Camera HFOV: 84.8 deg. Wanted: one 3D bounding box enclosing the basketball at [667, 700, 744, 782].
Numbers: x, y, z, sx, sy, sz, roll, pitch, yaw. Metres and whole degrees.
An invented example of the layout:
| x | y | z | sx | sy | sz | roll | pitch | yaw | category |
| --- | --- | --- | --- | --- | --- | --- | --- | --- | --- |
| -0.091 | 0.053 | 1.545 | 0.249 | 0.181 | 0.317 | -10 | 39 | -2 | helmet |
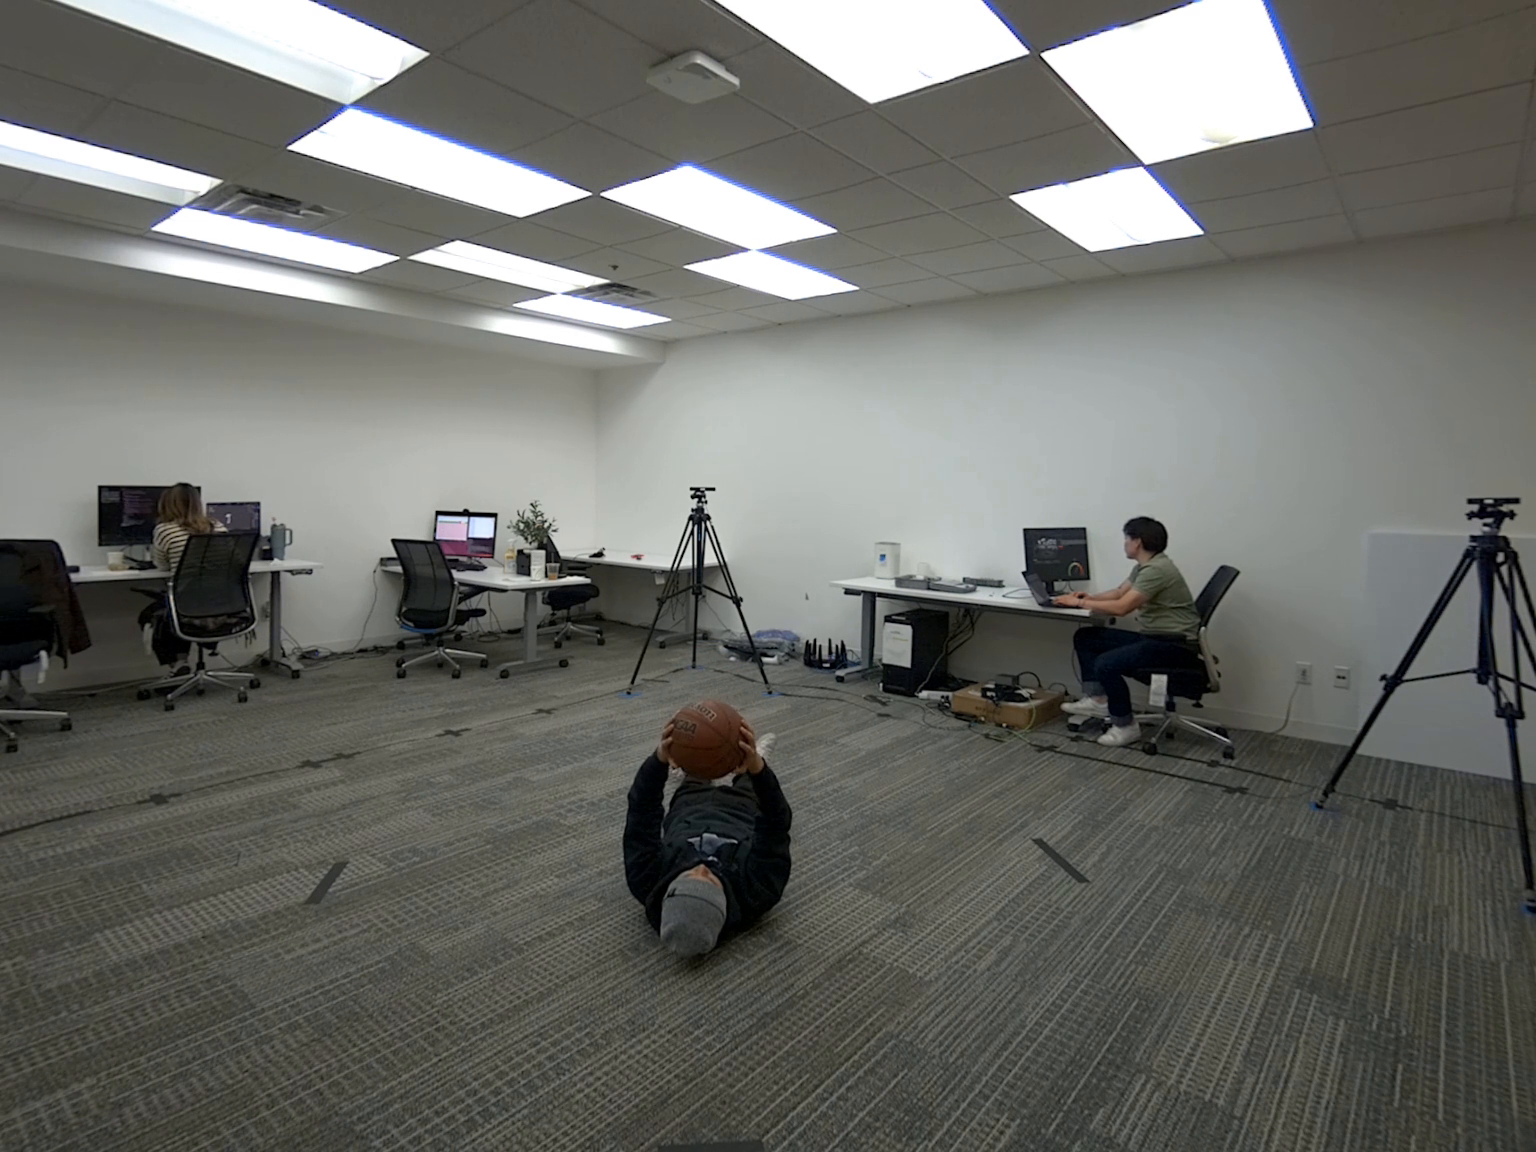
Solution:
| x | y | z | sx | sy | sz | roll | pitch | yaw | category |
| --- | --- | --- | --- | --- | --- | --- | --- | --- | --- |
| -0.196 | 0.491 | 2.568 | 0.235 | 0.235 | 0.237 | 1 | 4 | -2 | basketball |
